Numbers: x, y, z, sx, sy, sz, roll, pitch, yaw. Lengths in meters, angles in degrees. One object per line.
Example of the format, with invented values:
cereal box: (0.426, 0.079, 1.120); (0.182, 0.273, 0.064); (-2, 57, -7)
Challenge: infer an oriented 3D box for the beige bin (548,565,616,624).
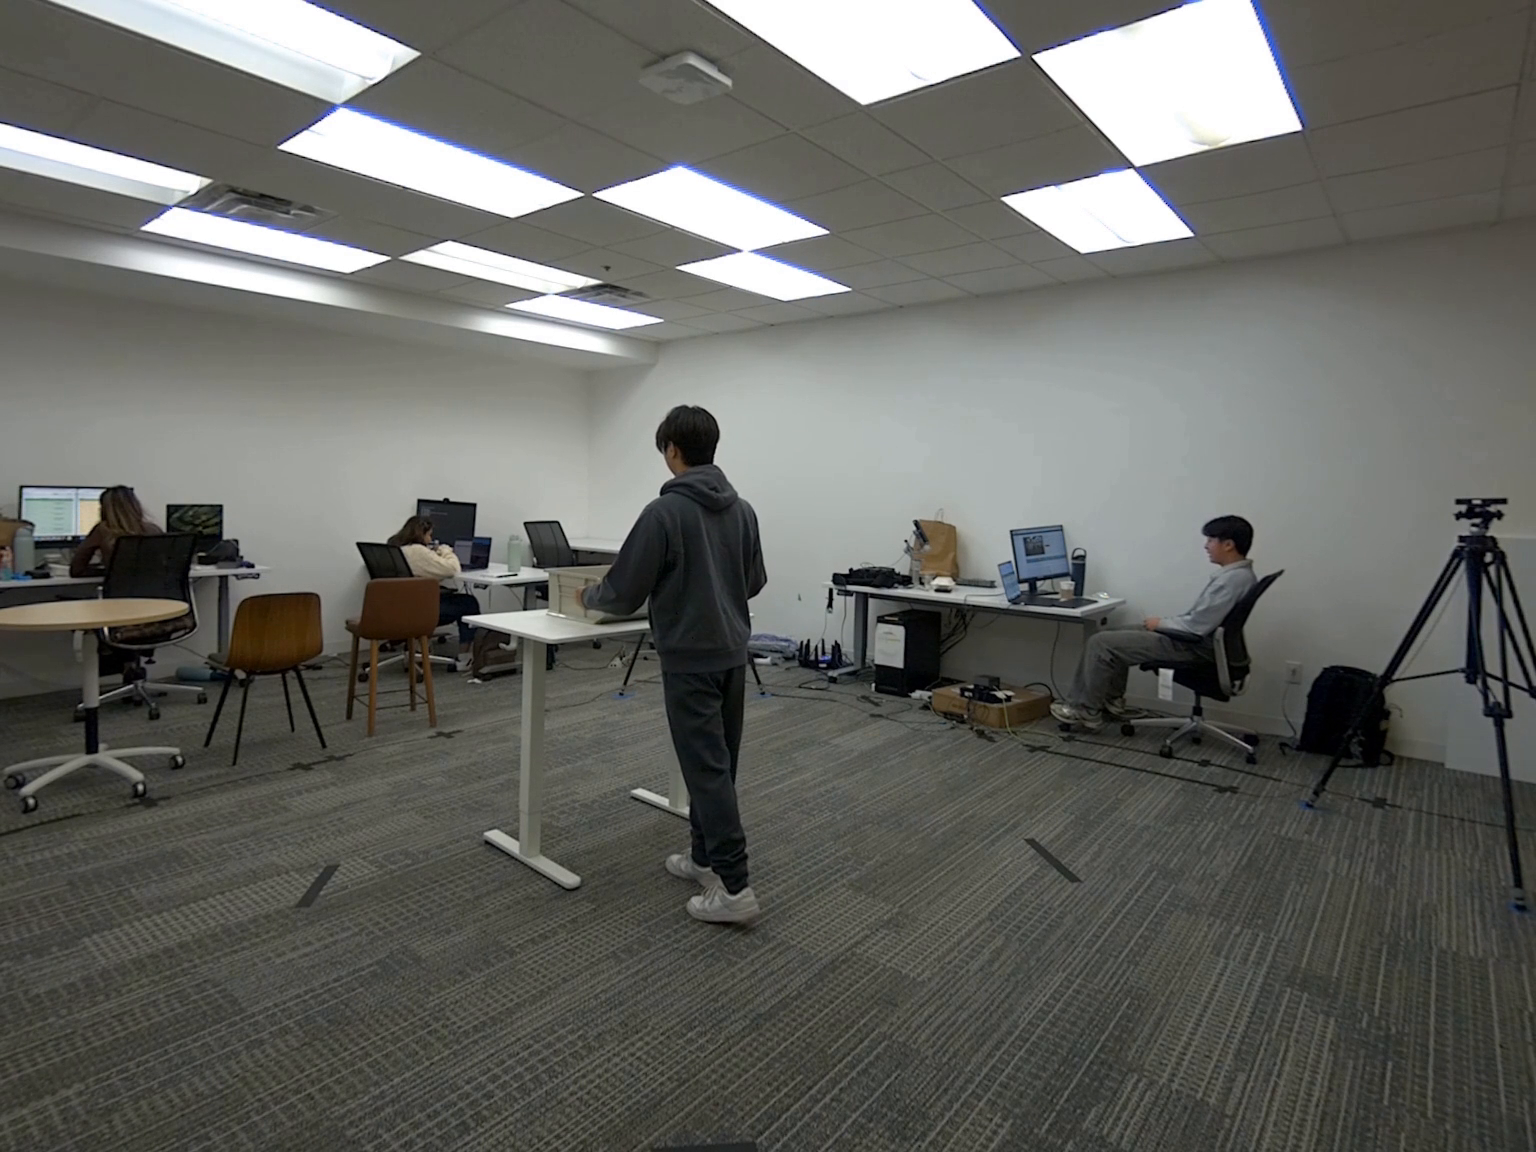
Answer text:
beige bin: (-0.615, 0.069, 3.360); (0.390, 0.188, 0.410); (6, 7, 43)
